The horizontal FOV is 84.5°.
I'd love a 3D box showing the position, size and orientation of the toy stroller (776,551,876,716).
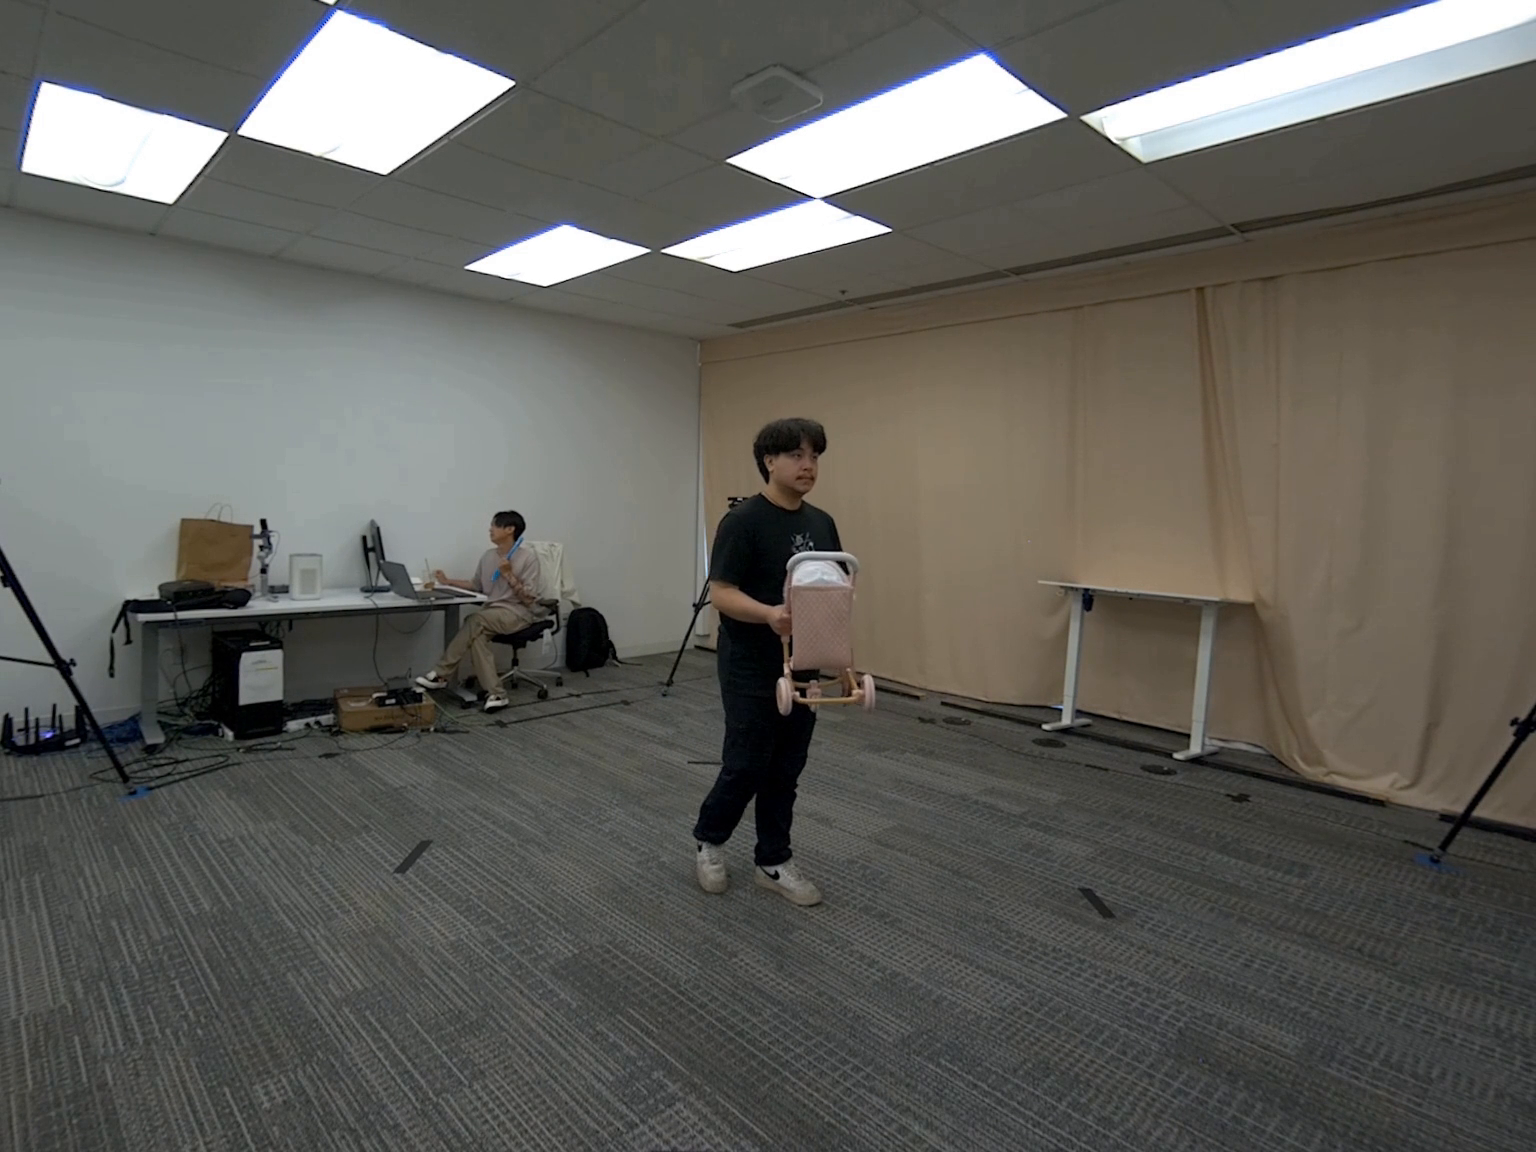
[{"bbox_3d":[0.151,0.188,2.561,0.282,0.533,0.342,0,4,1],"label":"toy stroller"}]
